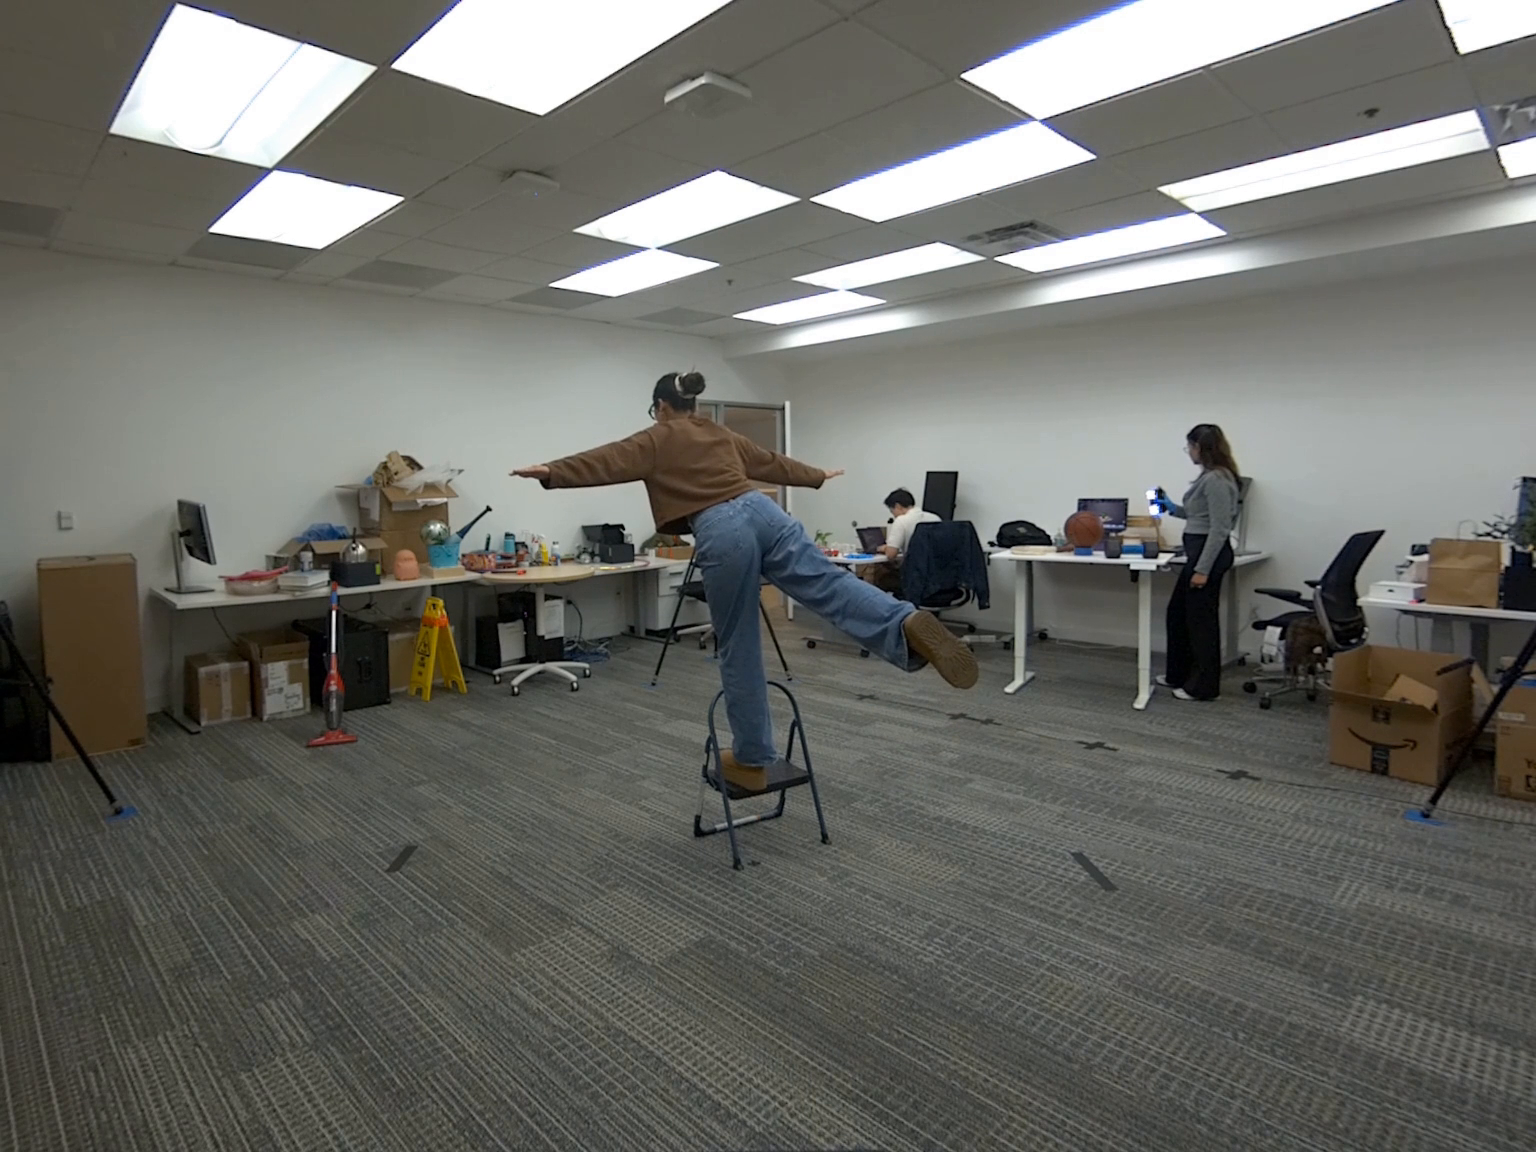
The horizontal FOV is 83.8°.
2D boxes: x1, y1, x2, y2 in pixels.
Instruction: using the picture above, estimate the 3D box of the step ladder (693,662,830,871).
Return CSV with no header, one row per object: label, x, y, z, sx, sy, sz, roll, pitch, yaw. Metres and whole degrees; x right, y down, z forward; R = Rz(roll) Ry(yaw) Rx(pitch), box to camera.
step ladder,-0.031,0.721,3.292,0.420,0.604,0.359,-4,5,-33
